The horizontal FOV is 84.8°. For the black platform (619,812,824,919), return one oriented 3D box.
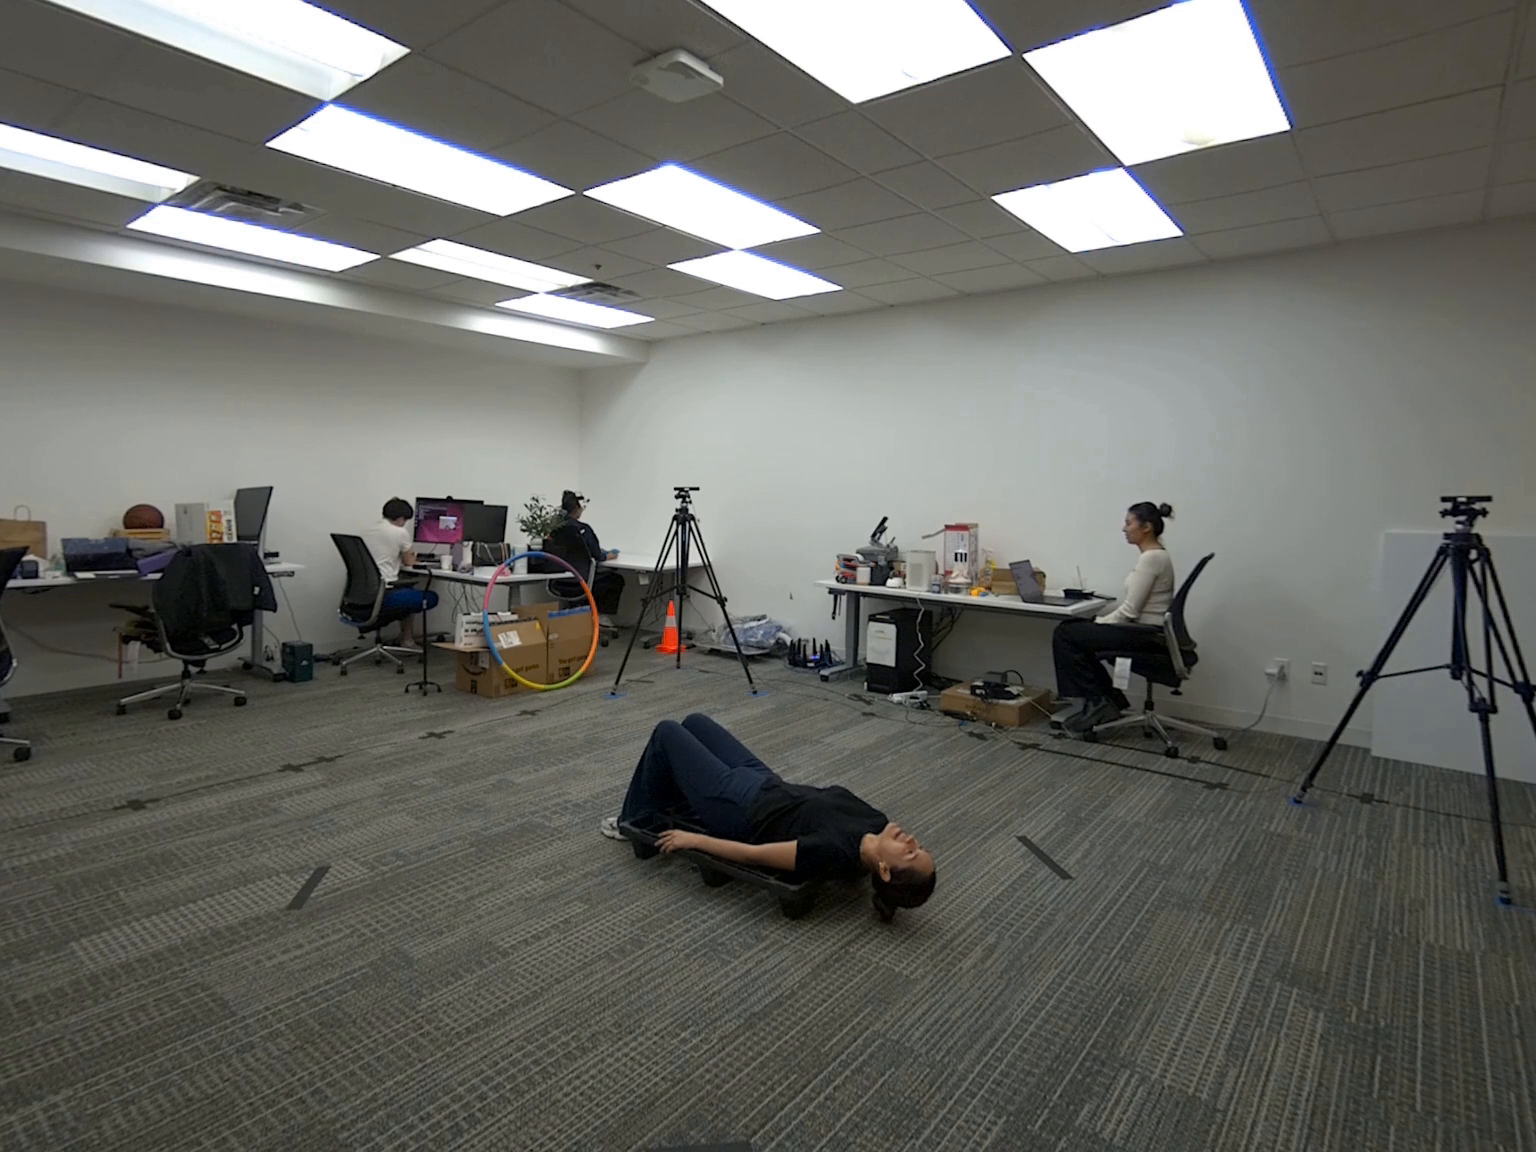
[{"bbox_3d":[-0.042,0.998,3.160,0.832,0.143,0.588,5,7,38],"label":"black platform"}]
